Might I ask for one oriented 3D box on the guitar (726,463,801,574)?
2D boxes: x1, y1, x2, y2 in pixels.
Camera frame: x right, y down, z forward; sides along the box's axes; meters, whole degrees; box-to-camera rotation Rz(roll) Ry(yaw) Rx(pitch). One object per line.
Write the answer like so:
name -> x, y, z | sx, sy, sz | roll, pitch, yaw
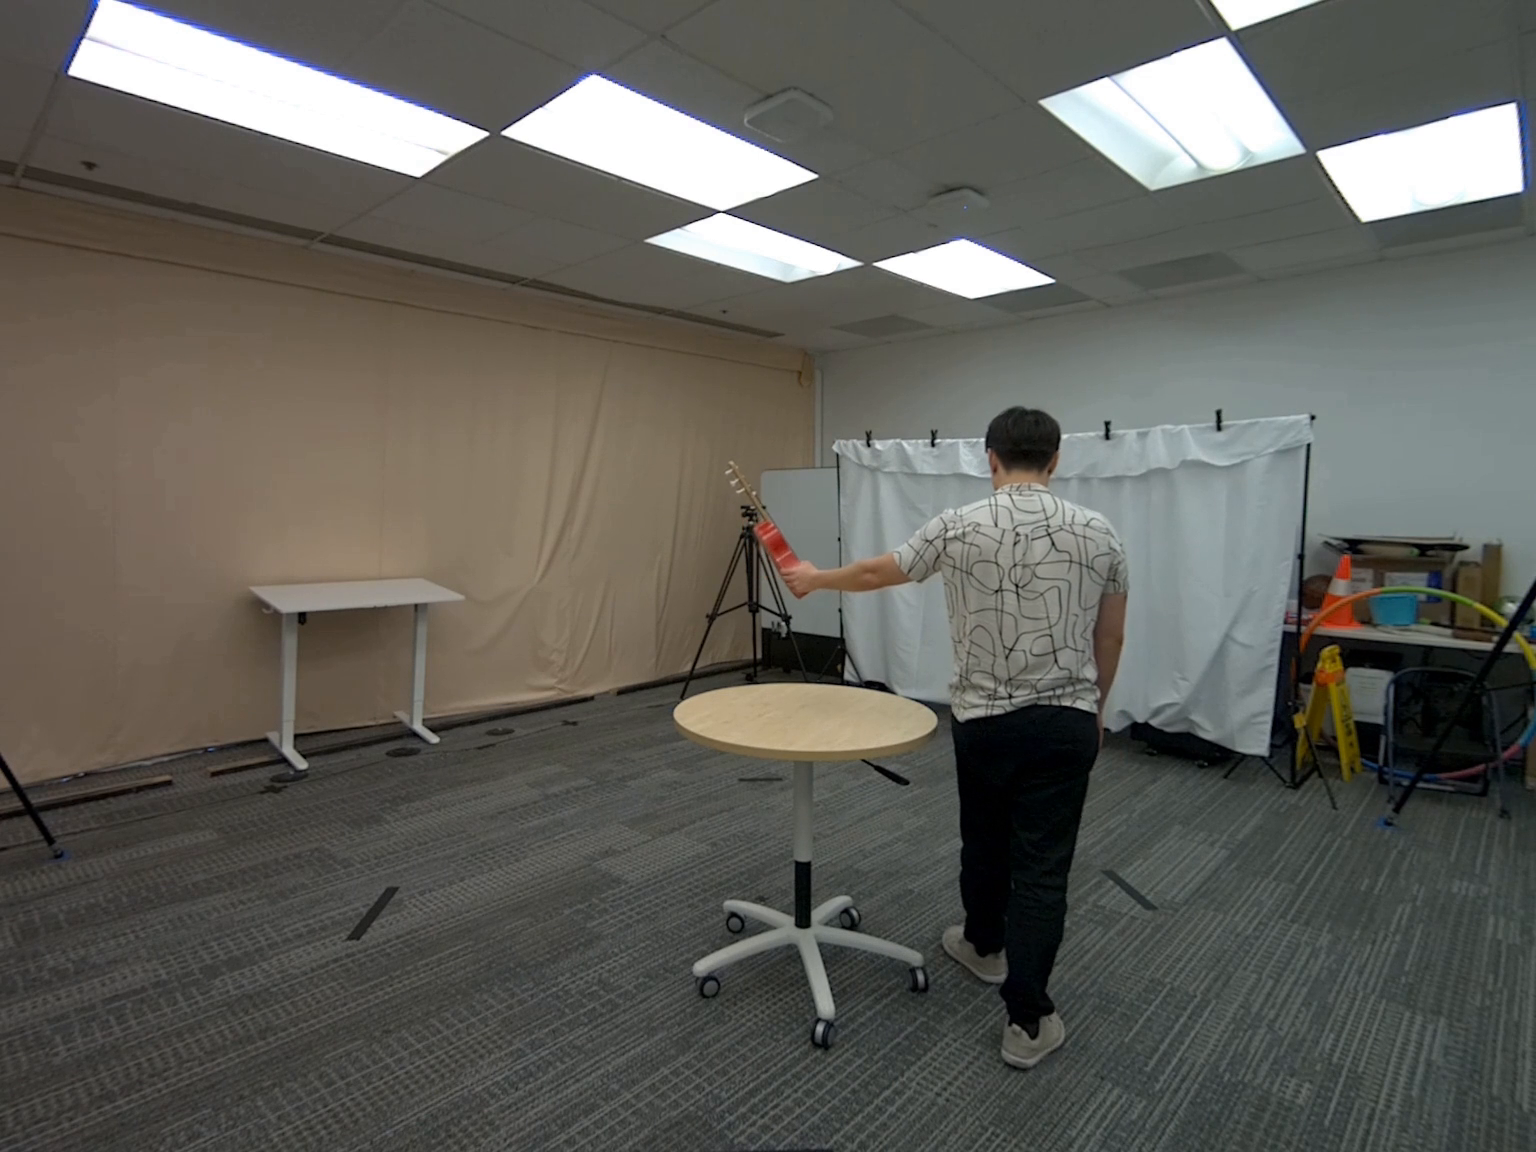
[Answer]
guitar -> -0.005, -0.151, 2.794 | 0.070, 0.503, 0.192 | -32, -8, -6
